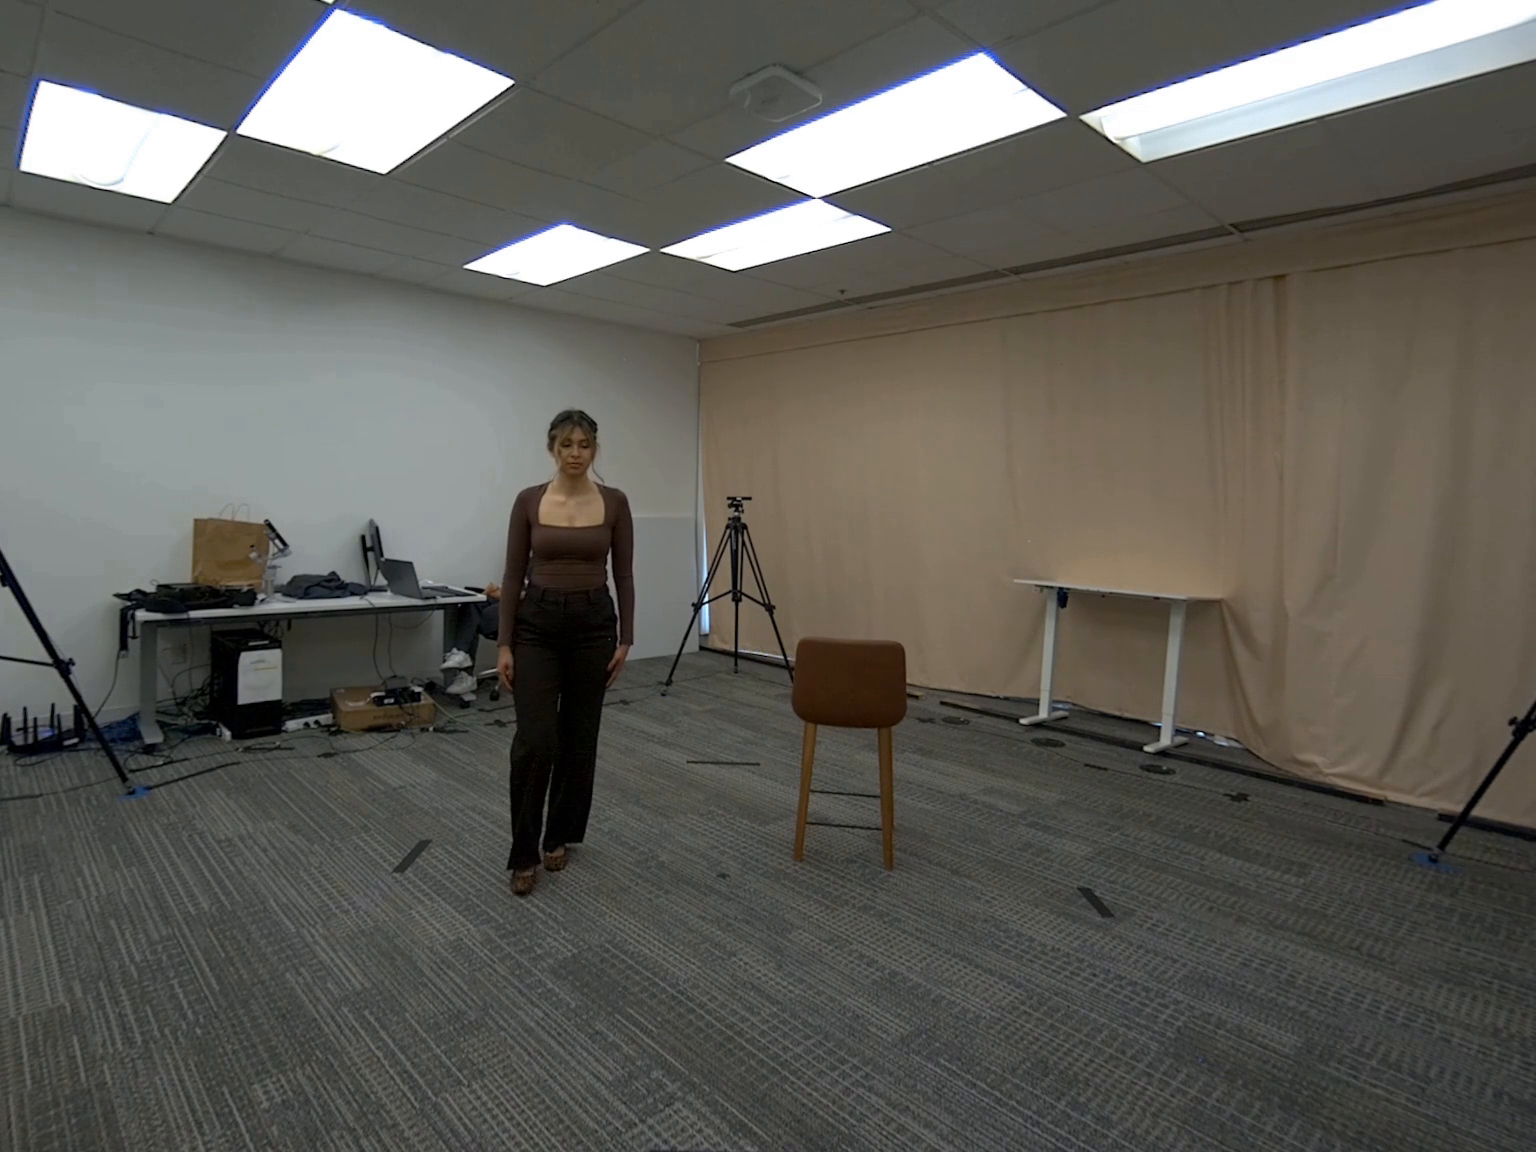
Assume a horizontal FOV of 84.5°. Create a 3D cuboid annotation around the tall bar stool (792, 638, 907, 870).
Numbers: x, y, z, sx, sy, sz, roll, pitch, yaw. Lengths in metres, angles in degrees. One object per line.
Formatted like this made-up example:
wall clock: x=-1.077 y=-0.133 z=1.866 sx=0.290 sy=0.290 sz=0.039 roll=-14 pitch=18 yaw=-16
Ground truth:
tall bar stool: x=0.314 y=0.656 z=3.404 sx=0.460 sy=0.887 sz=0.465 roll=2 pitch=4 yaw=8
